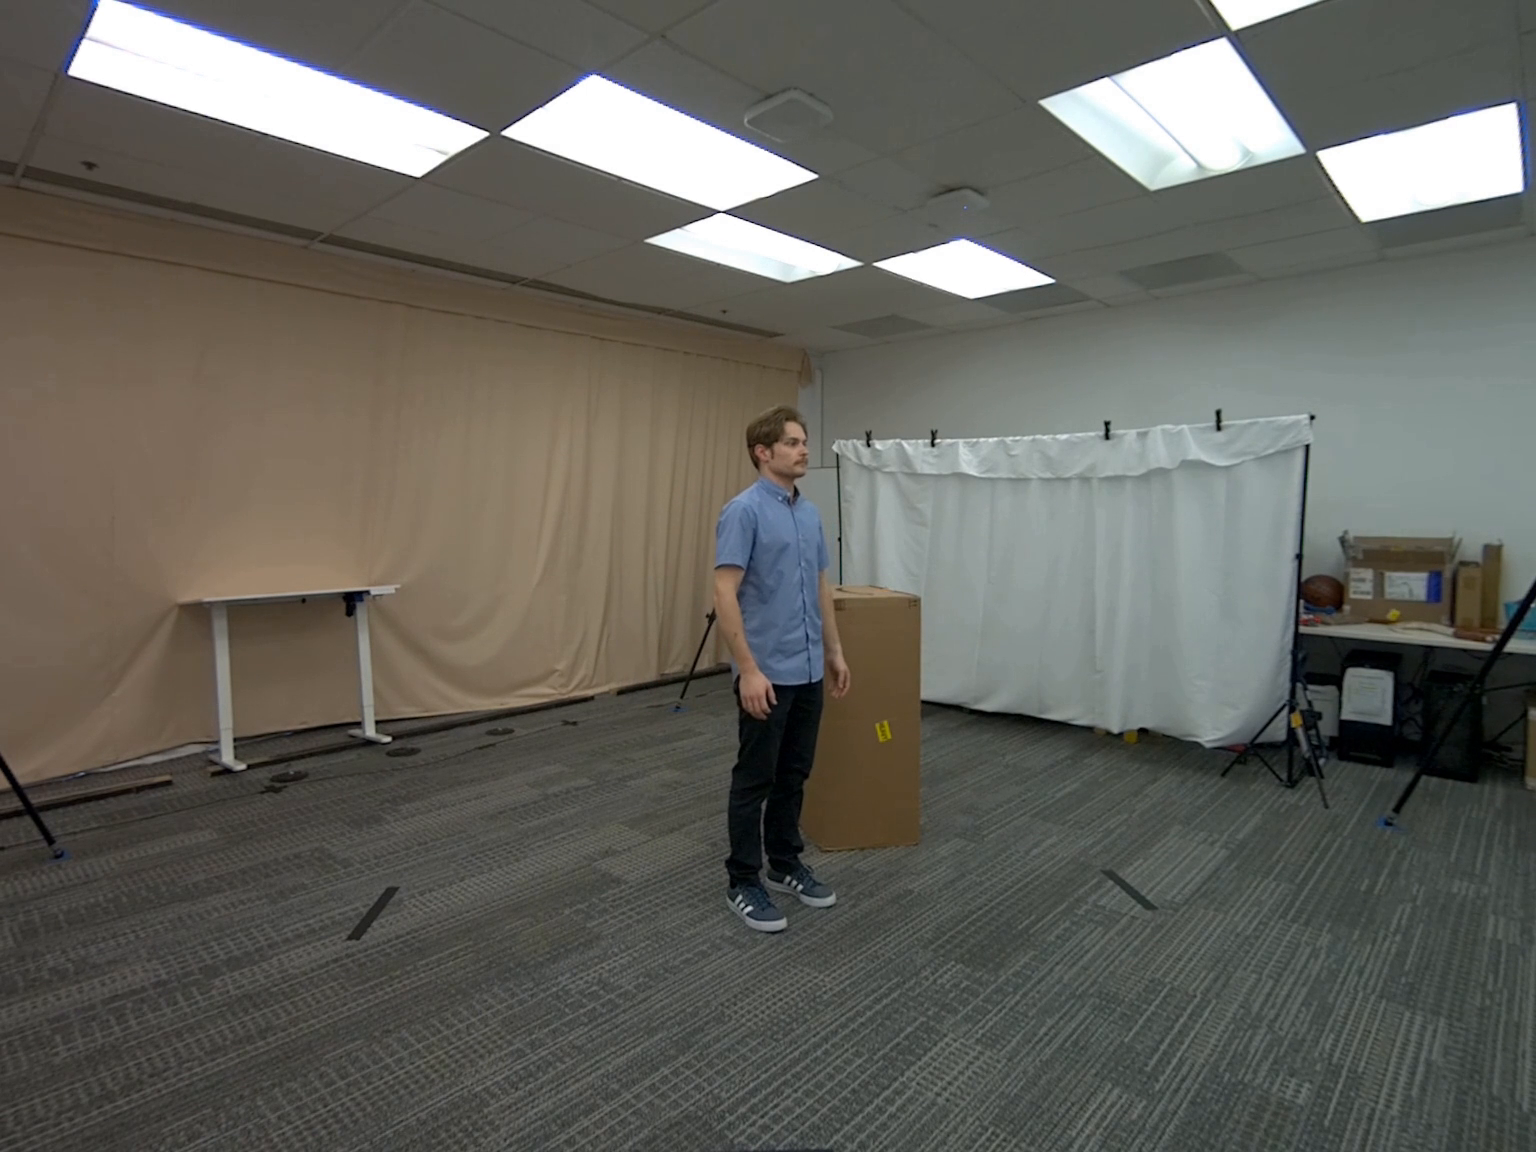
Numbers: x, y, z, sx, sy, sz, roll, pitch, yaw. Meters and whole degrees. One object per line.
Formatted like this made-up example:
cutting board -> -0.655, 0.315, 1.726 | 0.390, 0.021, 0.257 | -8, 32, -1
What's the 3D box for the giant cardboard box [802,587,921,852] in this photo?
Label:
giant cardboard box -> 0.357, 0.578, 3.682 | 0.420, 1.024, 0.587 | 0, 3, -14
